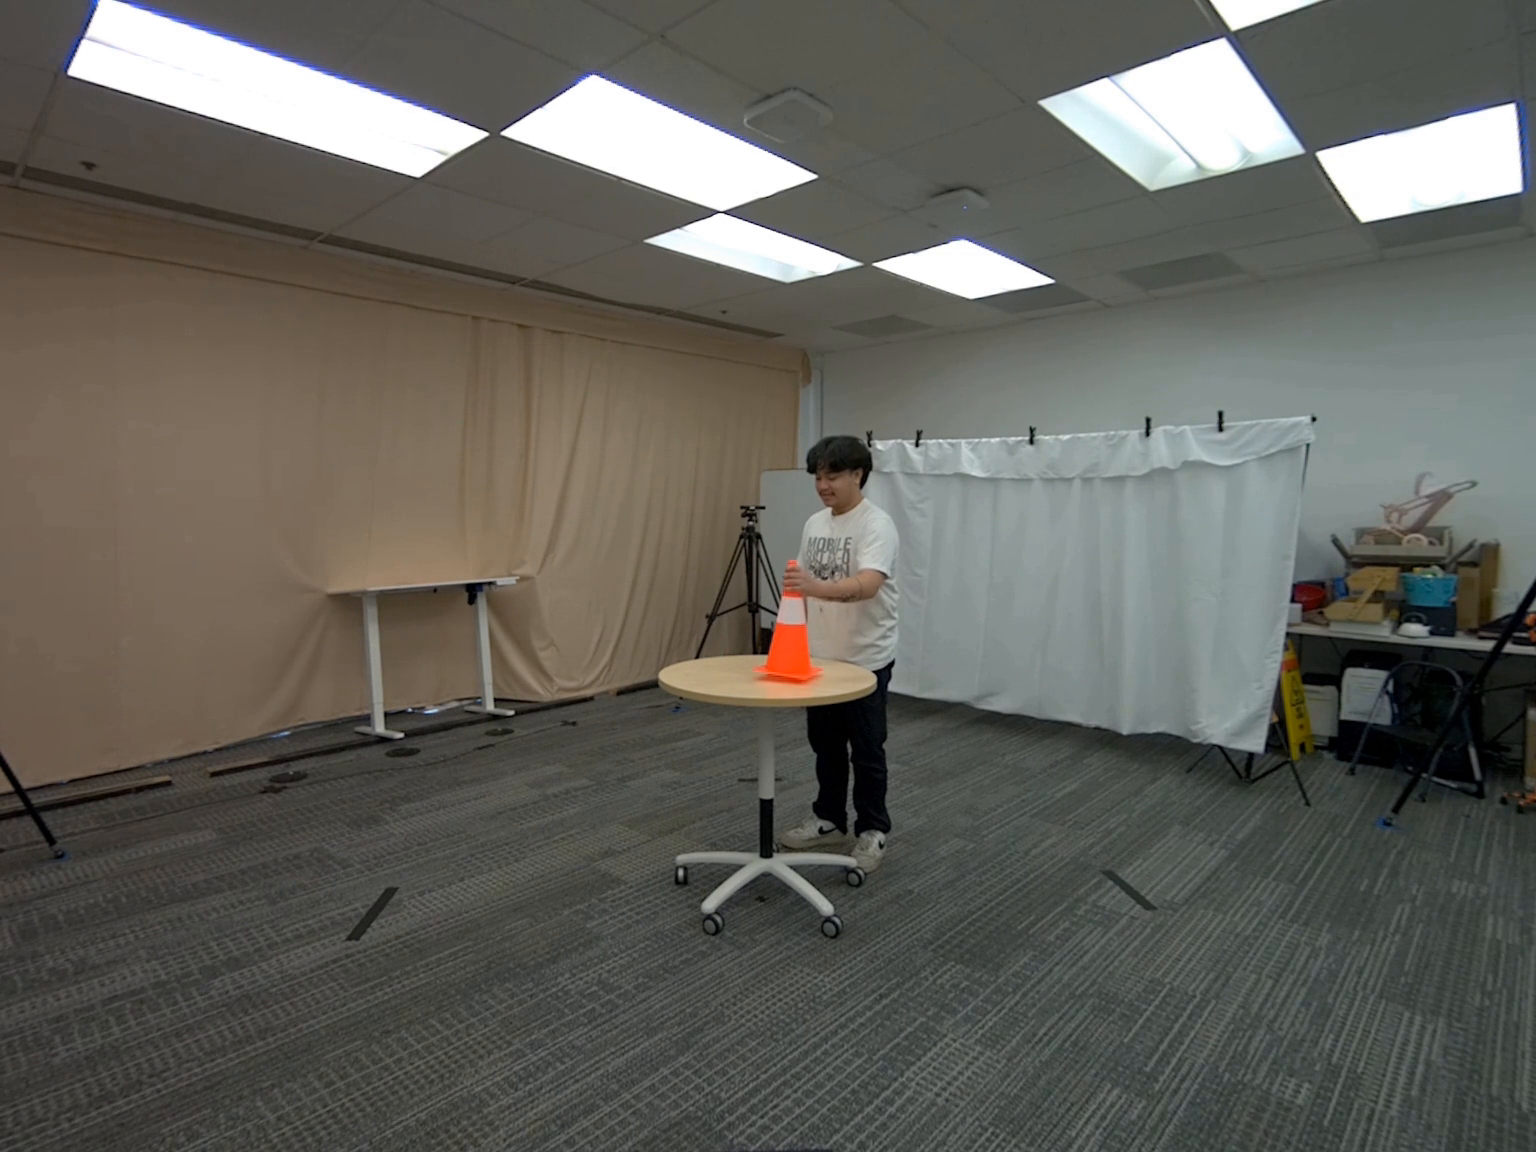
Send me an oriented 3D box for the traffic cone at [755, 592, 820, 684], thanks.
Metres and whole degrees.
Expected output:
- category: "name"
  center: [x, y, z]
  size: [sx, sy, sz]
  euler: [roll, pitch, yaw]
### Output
- category: "traffic cone"
  center: [0.086, 0.144, 2.908]
  size: [0.210, 0.383, 0.198]
  euler: [3, 2, 23]
